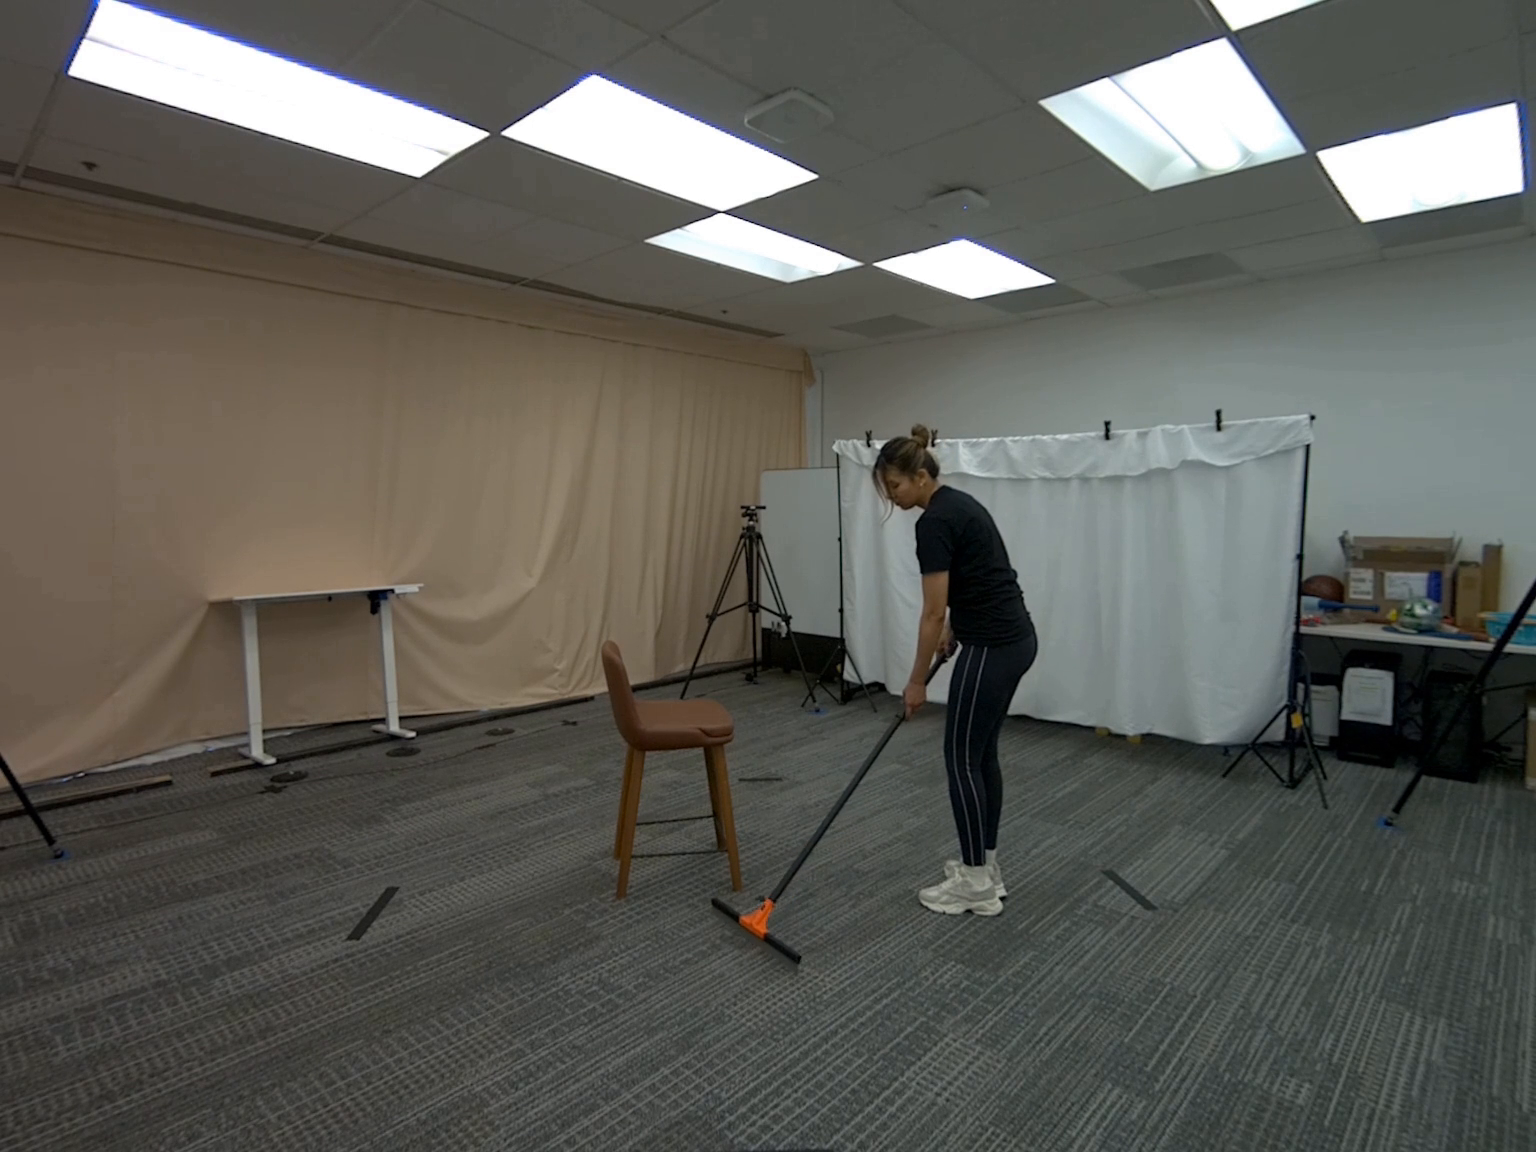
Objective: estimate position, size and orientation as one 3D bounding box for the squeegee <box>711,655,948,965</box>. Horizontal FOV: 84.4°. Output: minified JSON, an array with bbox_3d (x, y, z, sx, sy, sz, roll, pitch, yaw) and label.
[{"bbox_3d":[0.401,0.573,2.928,0.452,0.051,1.529,5,48,52],"label":"squeegee"}]
